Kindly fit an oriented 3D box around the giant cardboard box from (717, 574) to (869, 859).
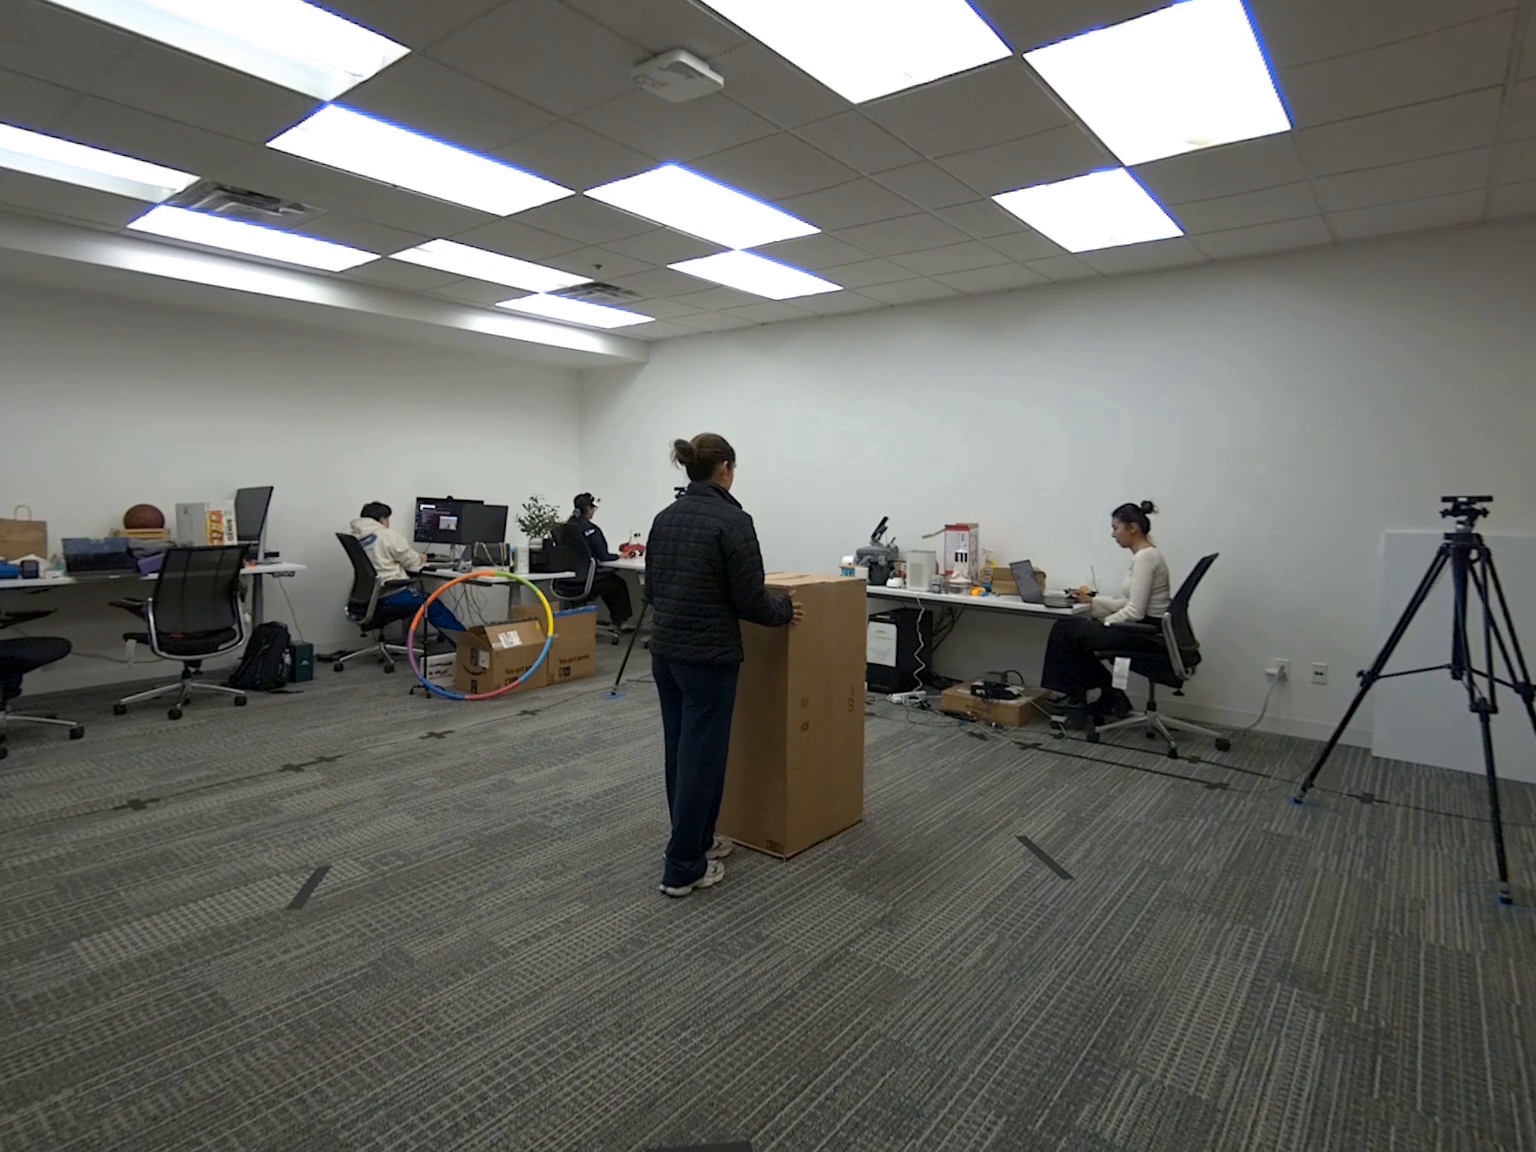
[{"bbox_3d":[0.094,0.520,3.521,0.440,1.024,0.560,3,3,39],"label":"giant cardboard box"}]
